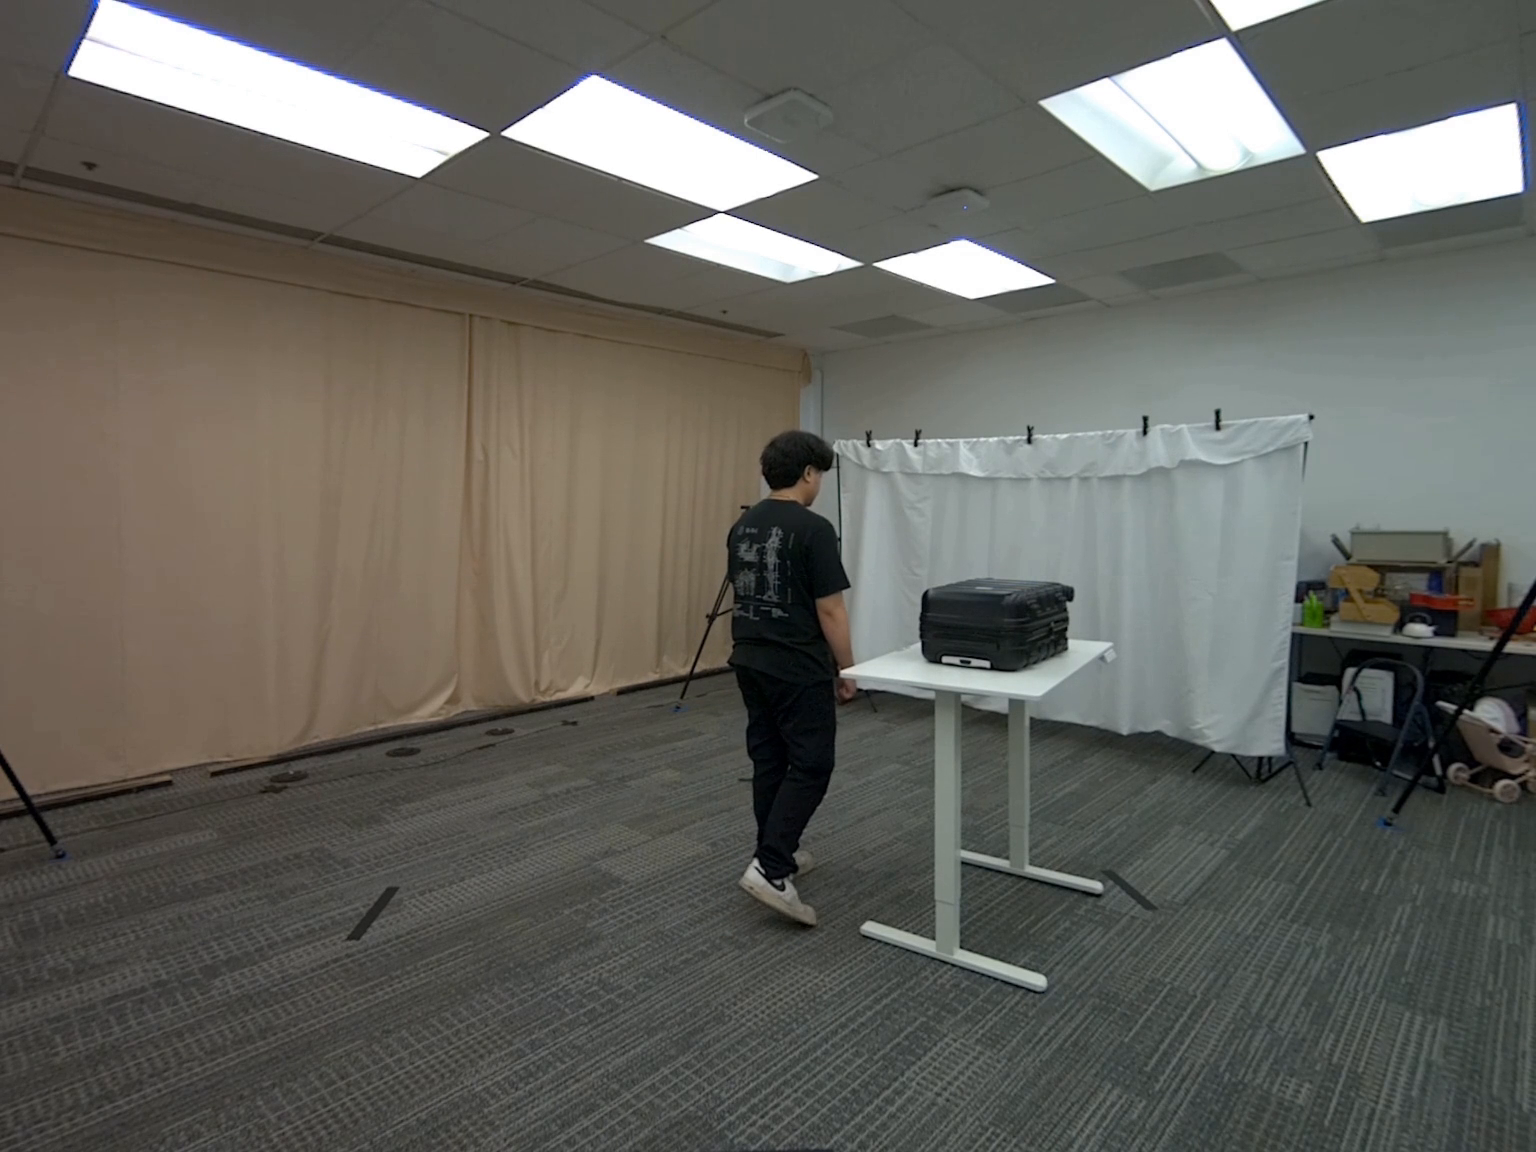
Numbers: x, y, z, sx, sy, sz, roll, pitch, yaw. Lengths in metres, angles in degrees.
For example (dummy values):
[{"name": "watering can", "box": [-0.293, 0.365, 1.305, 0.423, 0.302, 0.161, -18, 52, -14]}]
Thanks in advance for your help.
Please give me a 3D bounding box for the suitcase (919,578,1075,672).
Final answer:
[{"name": "suitcase", "box": [0.781, 0.159, 2.816, 0.388, 0.248, 0.533, 3, 6, 38]}]
